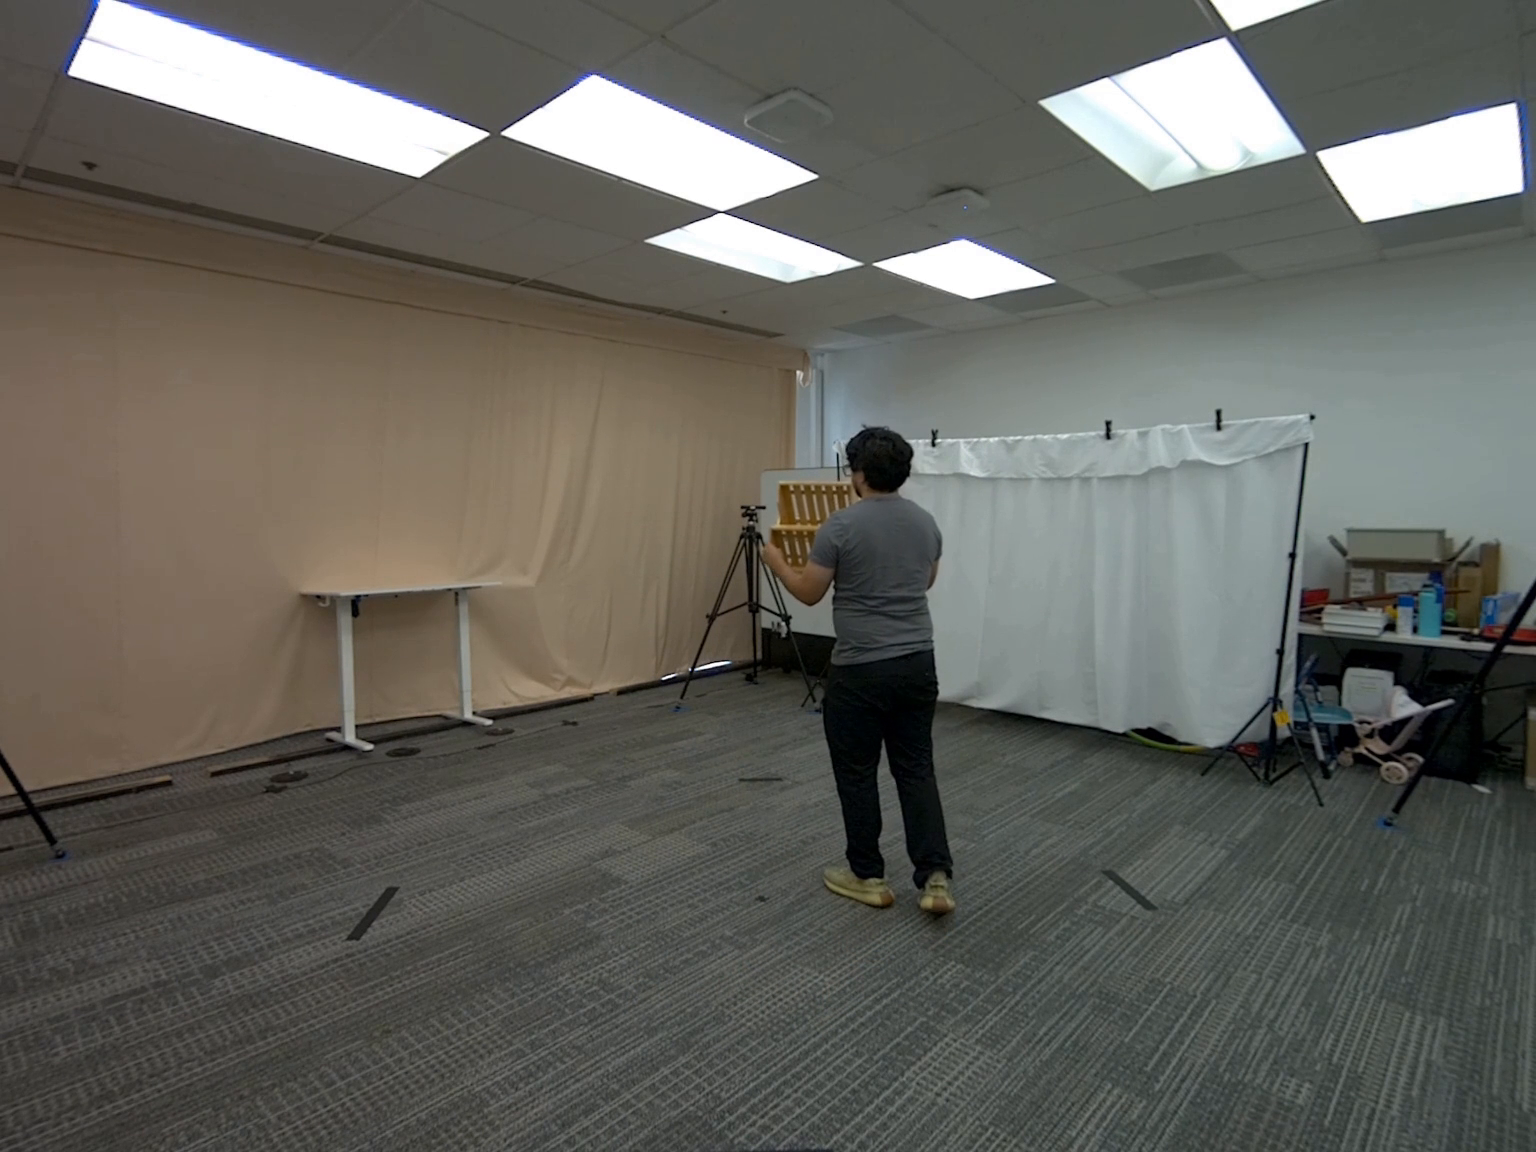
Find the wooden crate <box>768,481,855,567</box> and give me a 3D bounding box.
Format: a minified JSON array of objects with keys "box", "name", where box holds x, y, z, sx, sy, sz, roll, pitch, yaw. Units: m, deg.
[{"box":[0.185,-0.181,3.238,0.331,0.295,0.274,2,39,20],"name":"wooden crate"}]
